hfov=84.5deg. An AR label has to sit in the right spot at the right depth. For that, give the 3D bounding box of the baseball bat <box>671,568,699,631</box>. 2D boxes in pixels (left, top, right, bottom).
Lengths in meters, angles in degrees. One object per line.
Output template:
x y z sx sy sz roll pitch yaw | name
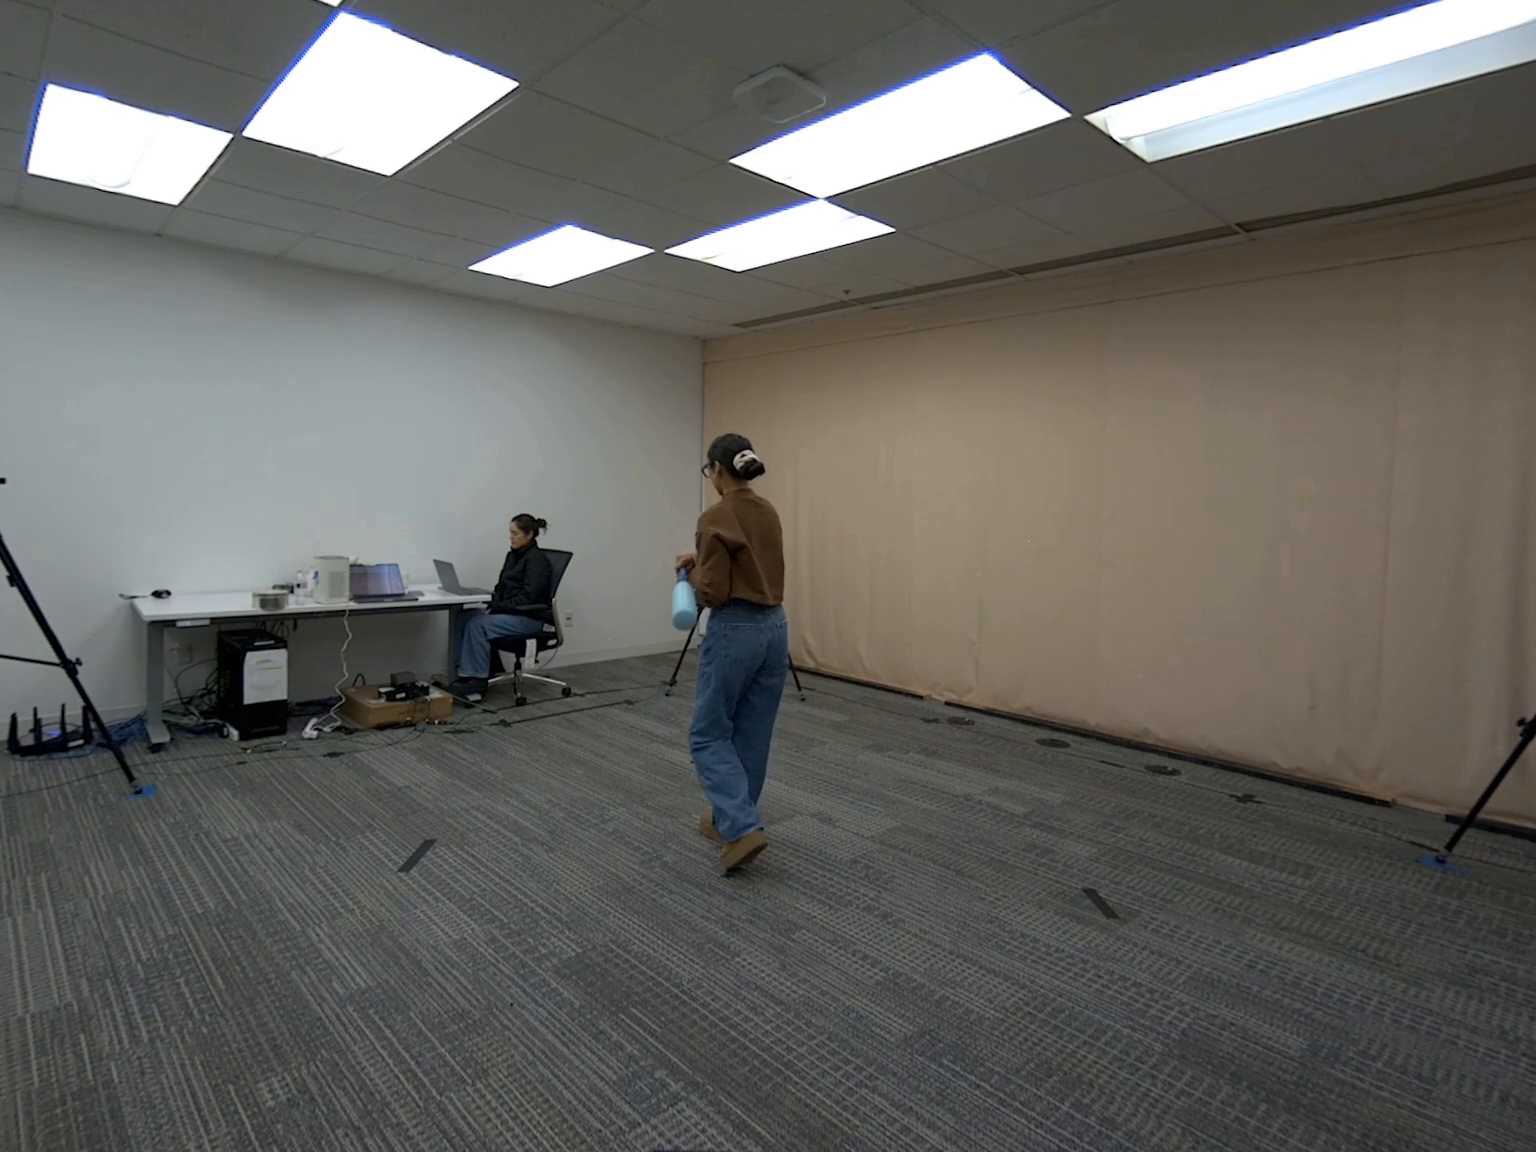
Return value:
-0.310 0.057 3.103 0.089 0.088 0.552 1 23 -4 | baseball bat
